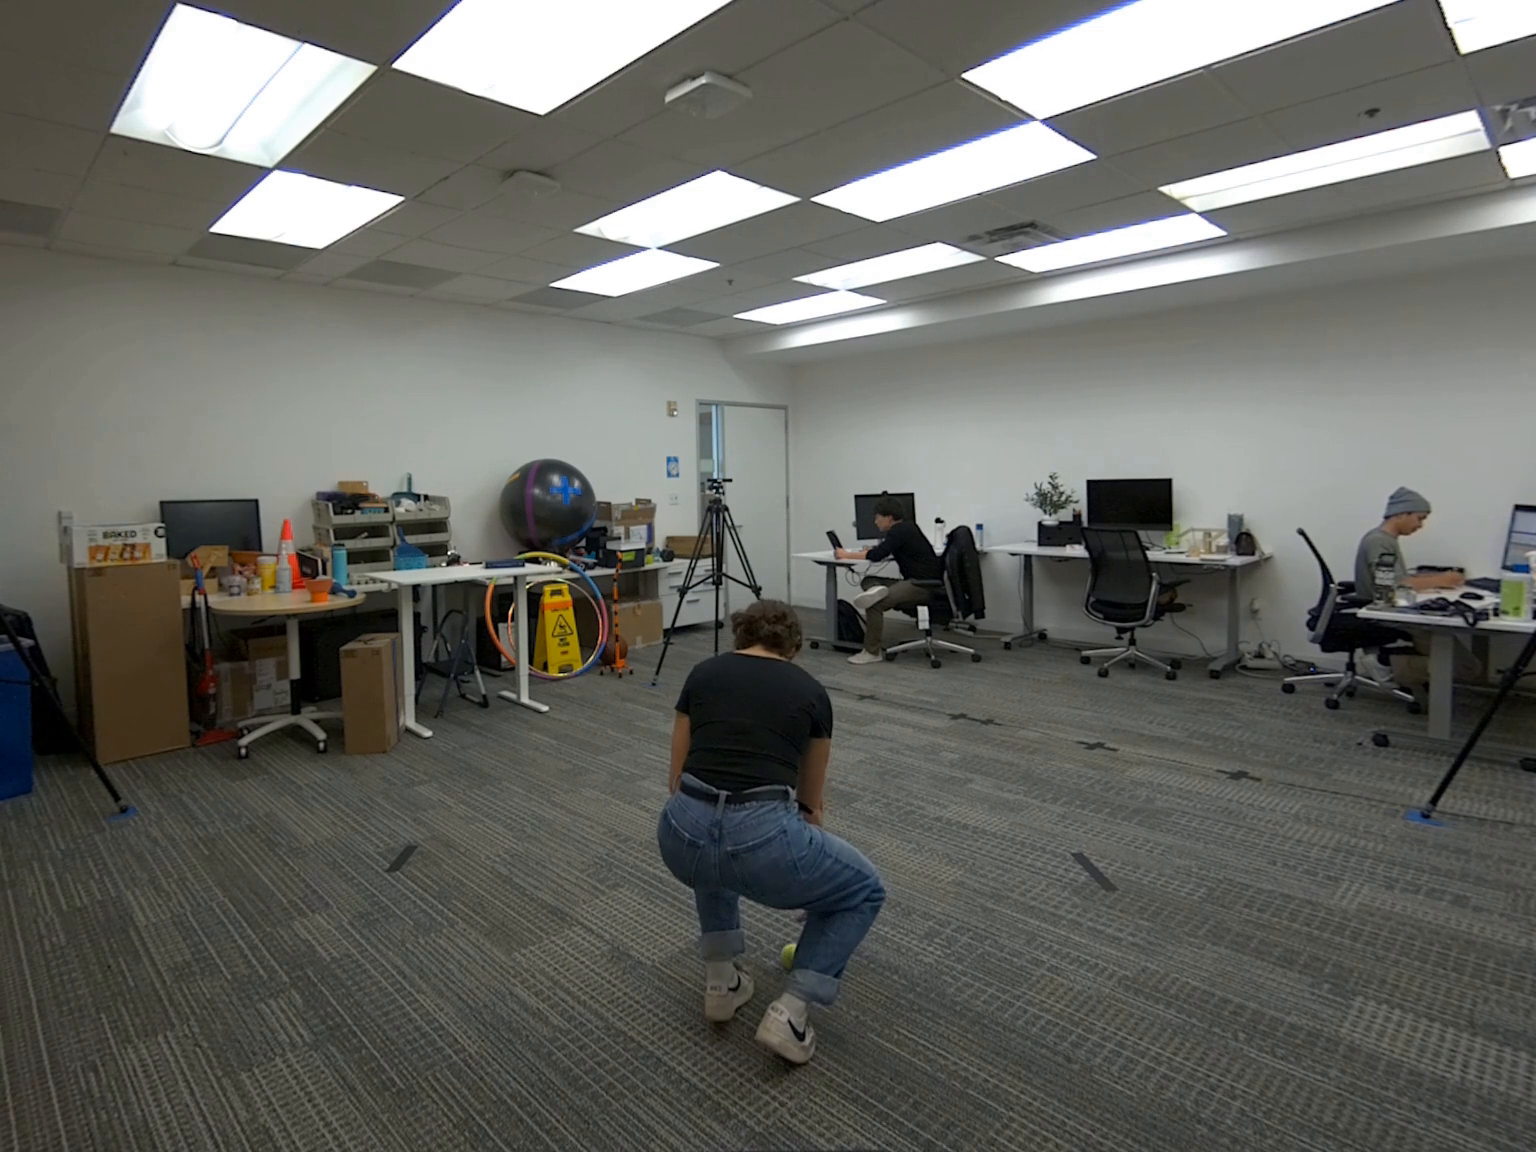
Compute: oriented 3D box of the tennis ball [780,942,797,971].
[{"bbox_3d":[0.083,1.071,2.437,0.066,0.066,0.067,-1,5,-2],"label":"tennis ball"}]
